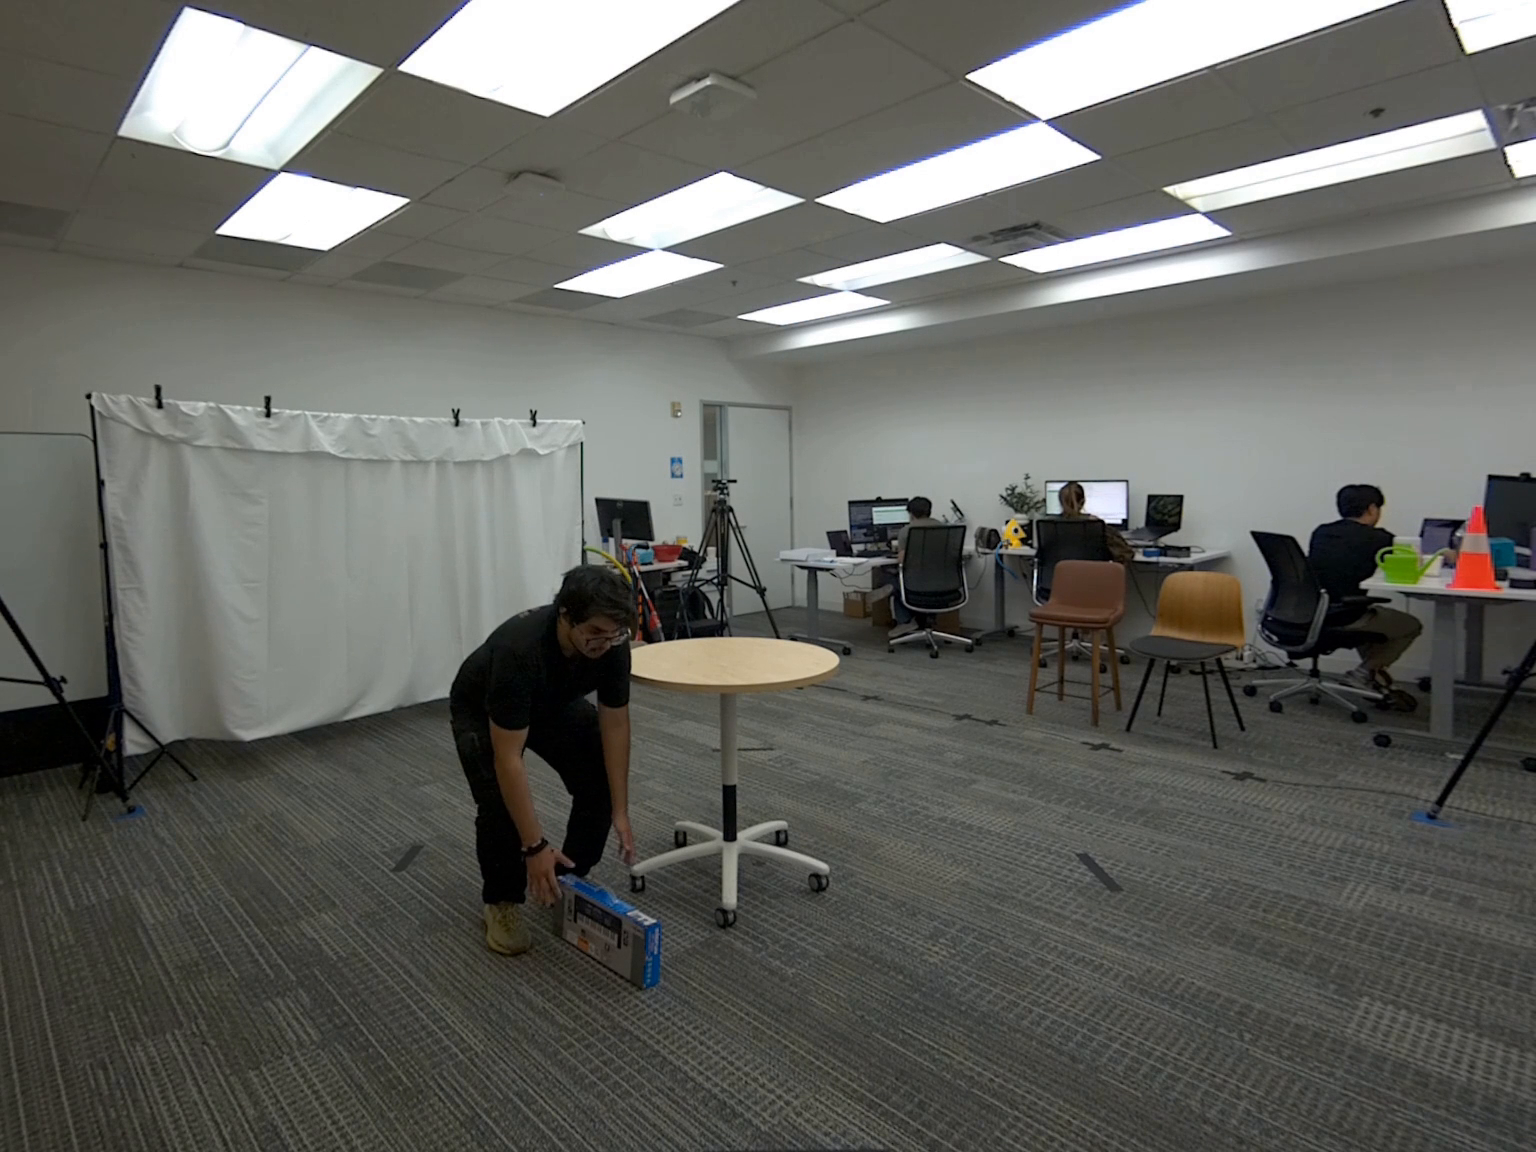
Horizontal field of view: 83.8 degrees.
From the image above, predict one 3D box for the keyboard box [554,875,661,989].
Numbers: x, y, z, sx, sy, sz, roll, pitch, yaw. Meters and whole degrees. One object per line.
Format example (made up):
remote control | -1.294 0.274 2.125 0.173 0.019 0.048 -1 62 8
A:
keyboard box | -0.482 1.036 2.518 0.450 0.176 0.057 5 1 43
